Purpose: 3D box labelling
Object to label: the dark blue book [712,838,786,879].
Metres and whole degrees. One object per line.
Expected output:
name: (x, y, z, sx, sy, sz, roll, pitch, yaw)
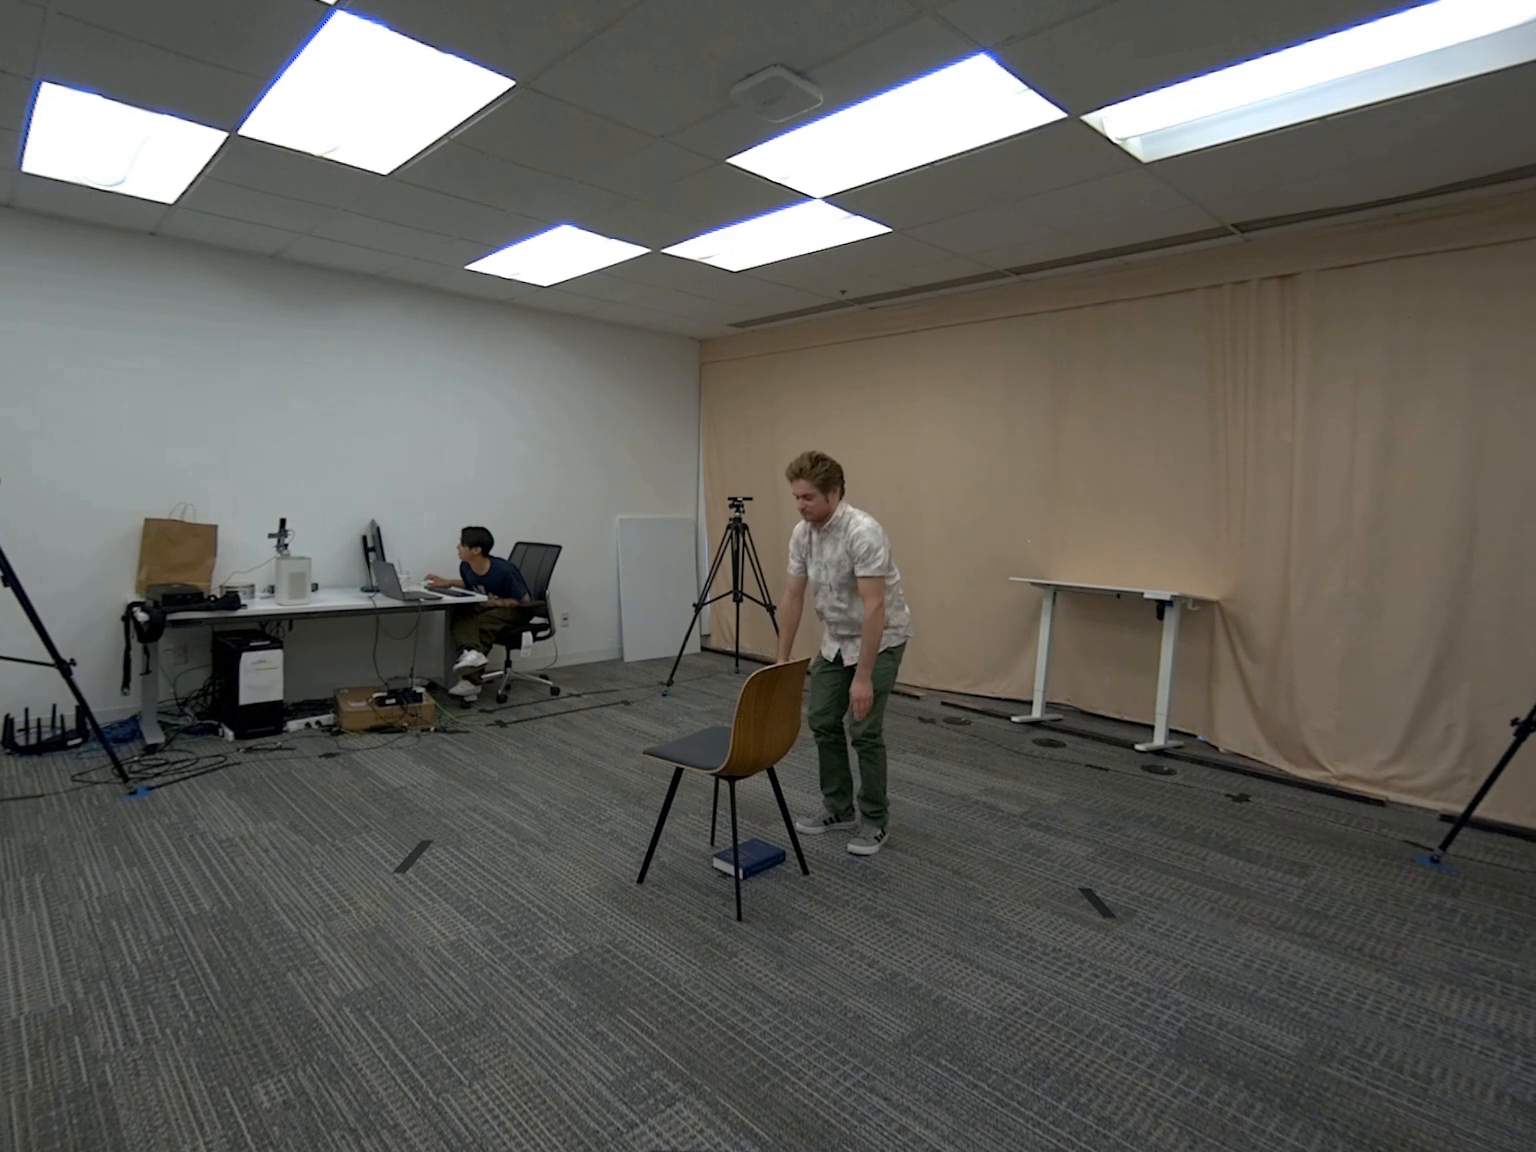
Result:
dark blue book: (-0.076, 1.074, 3.205, 0.167, 0.045, 0.239, 5, 6, 43)
